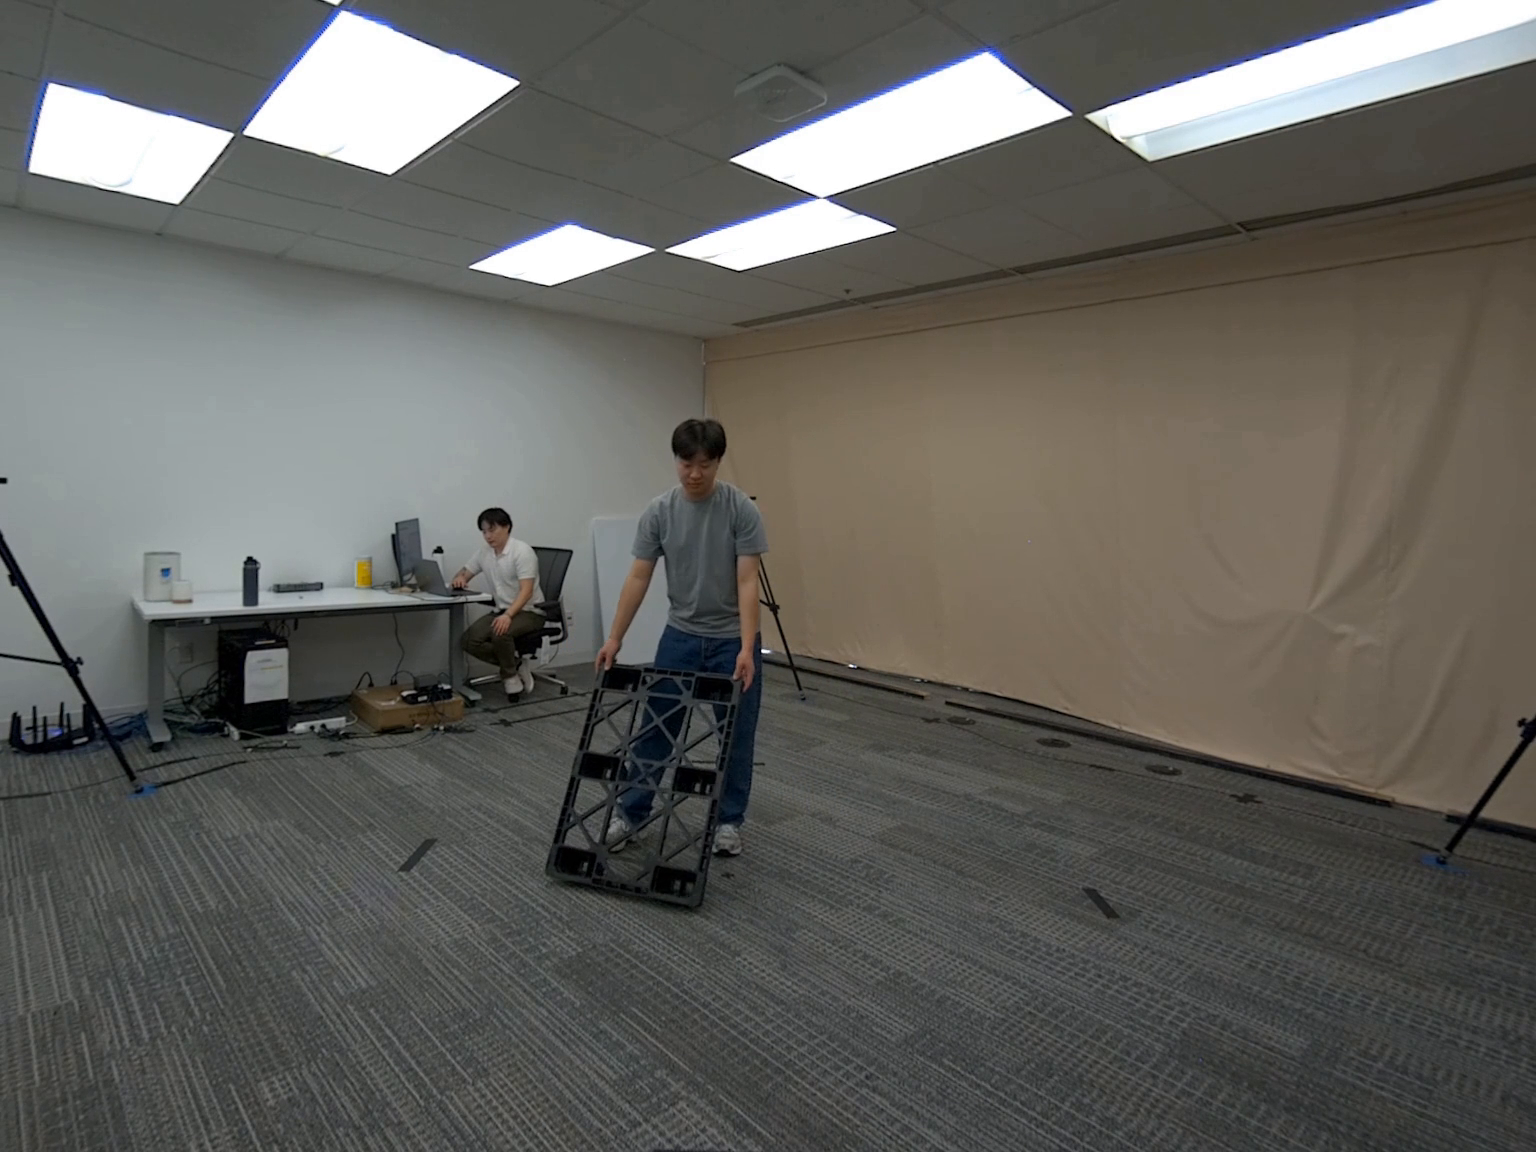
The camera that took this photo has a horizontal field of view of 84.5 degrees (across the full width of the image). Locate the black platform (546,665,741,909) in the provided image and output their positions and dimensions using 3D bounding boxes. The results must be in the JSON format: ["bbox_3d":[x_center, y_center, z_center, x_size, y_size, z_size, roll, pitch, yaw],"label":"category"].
[{"bbox_3d":[-0.440,0.752,3.103,0.614,0.816,0.139,2,-25,19],"label":"black platform"}]
